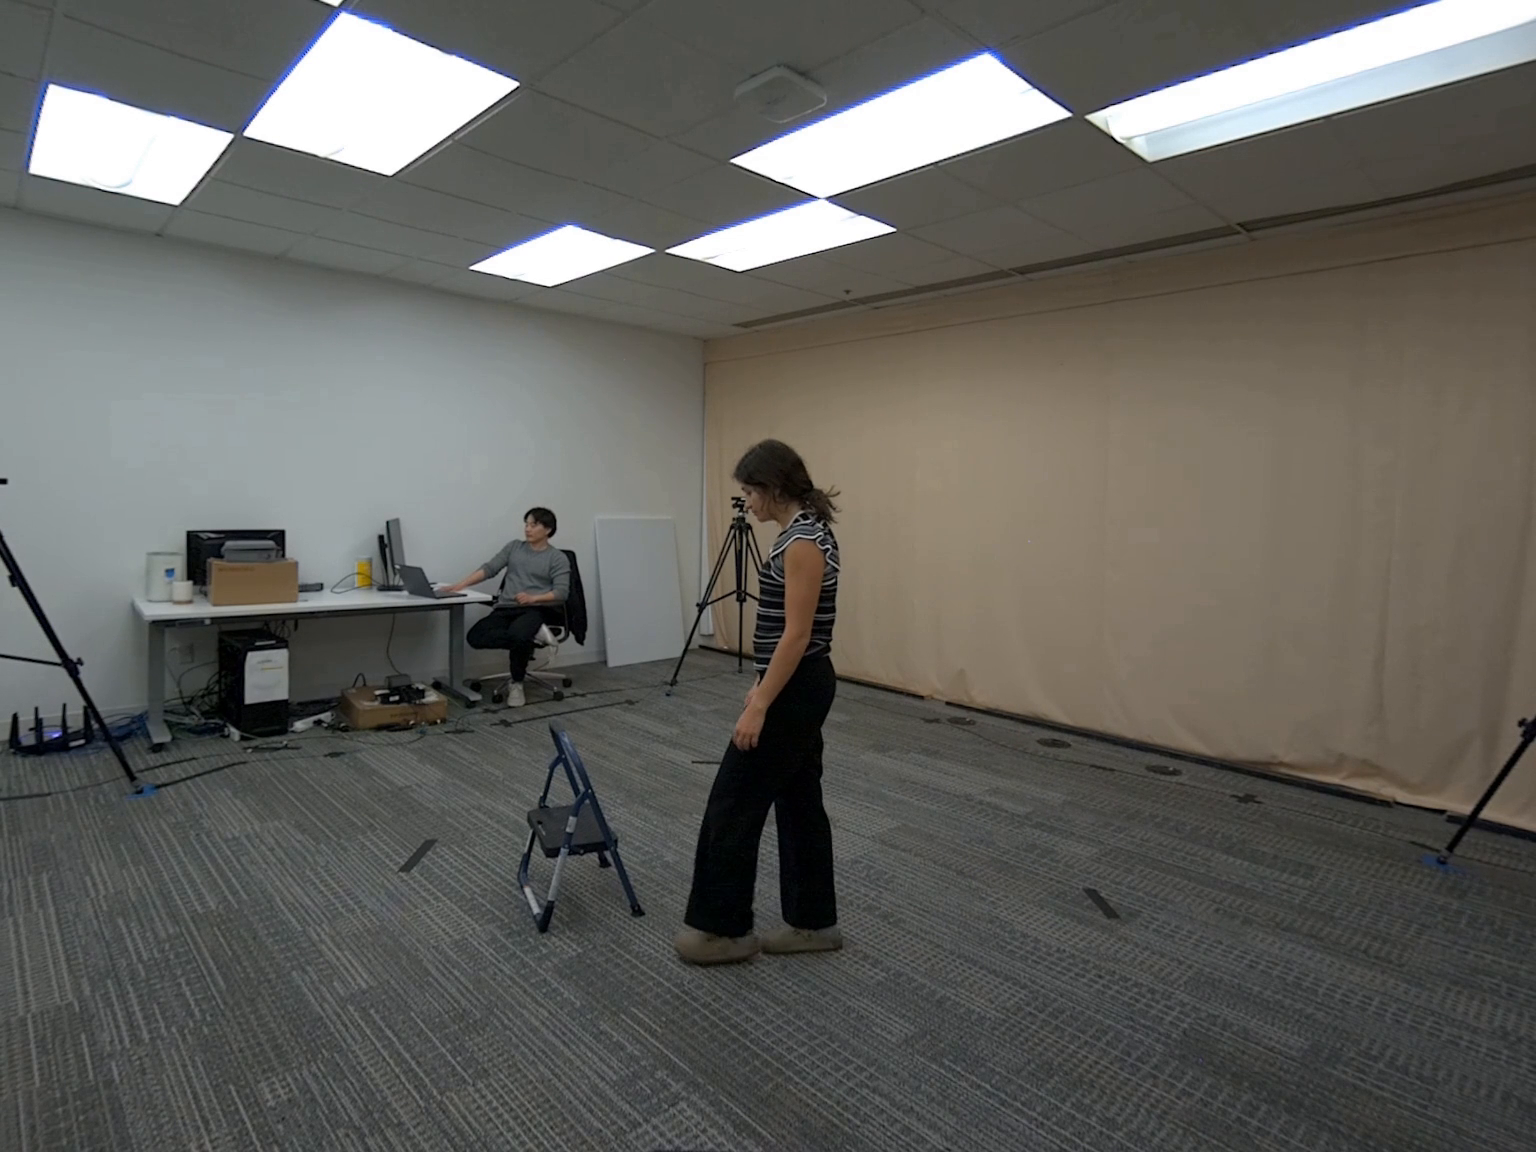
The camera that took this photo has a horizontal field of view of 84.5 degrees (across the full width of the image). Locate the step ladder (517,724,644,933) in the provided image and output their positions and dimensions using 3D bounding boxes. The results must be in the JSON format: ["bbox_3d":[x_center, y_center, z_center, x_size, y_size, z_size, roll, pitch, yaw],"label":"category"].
[{"bbox_3d":[-0.661,0.813,2.905,0.343,0.604,0.440,-1,4,-26],"label":"step ladder"}]
